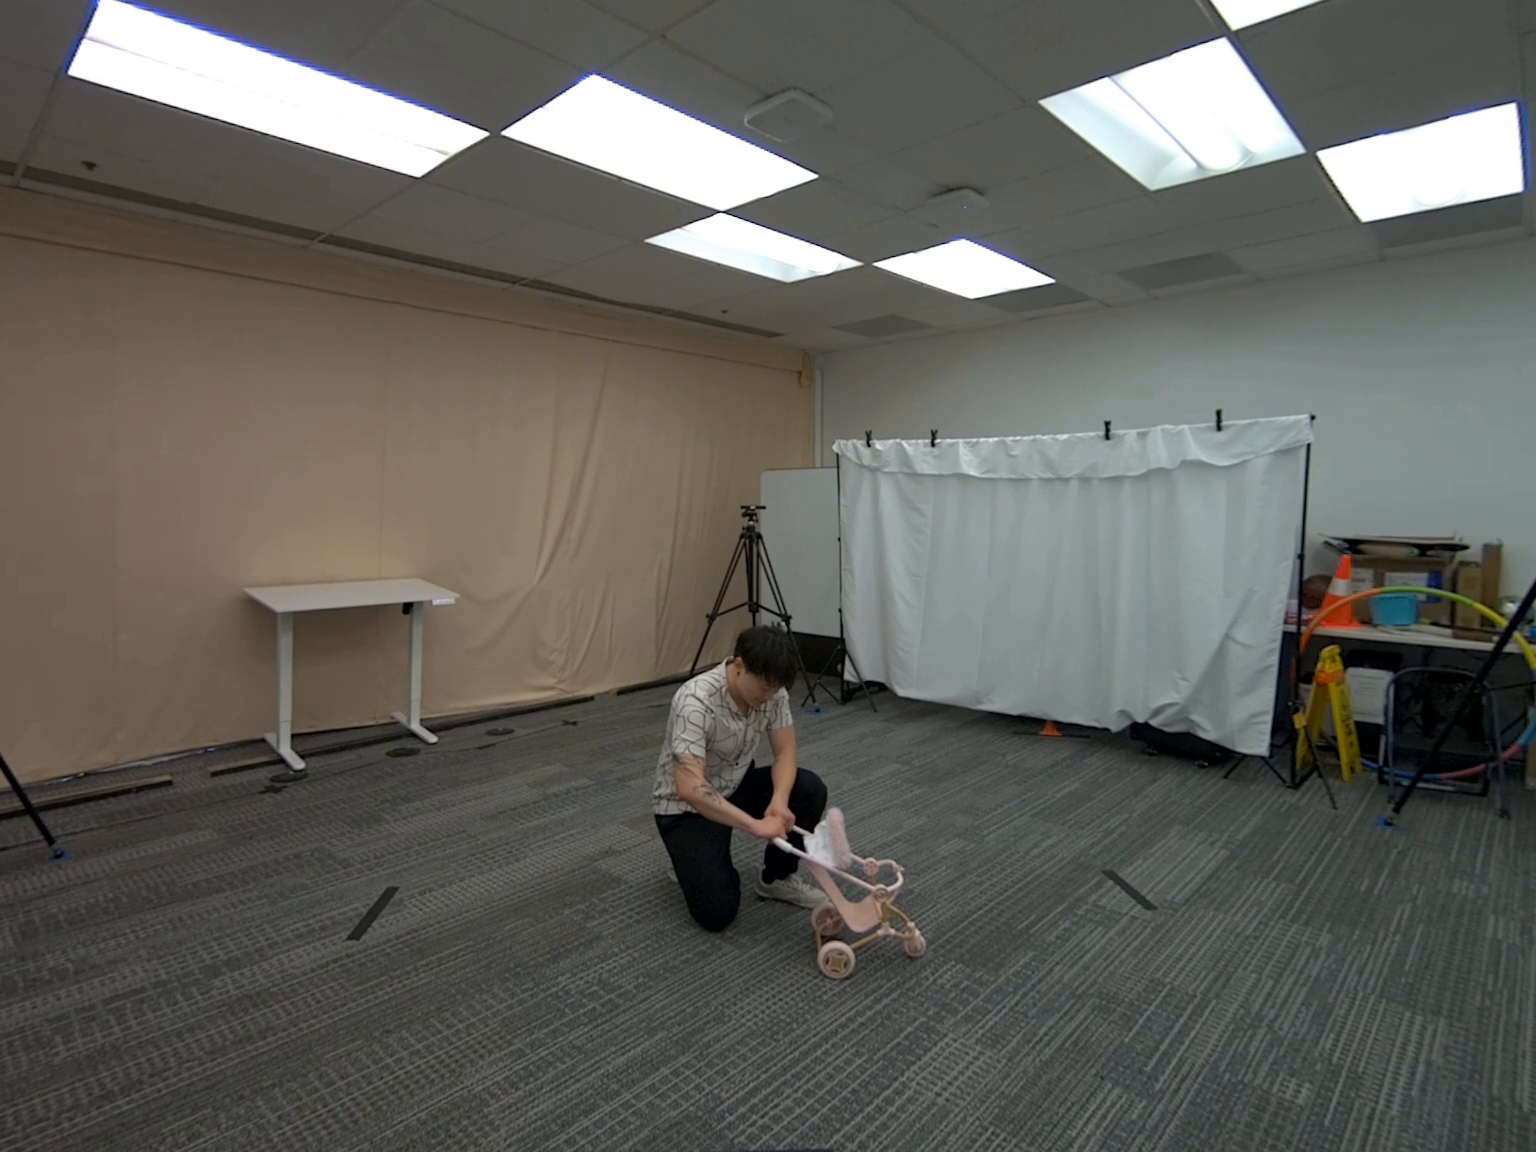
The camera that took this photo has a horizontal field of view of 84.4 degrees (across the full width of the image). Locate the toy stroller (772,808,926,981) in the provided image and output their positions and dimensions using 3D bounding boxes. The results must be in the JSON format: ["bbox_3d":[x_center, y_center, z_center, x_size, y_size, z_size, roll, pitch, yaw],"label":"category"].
[{"bbox_3d":[0.257,0.954,2.589,0.343,0.534,0.280,-19,2,6],"label":"toy stroller"}]
